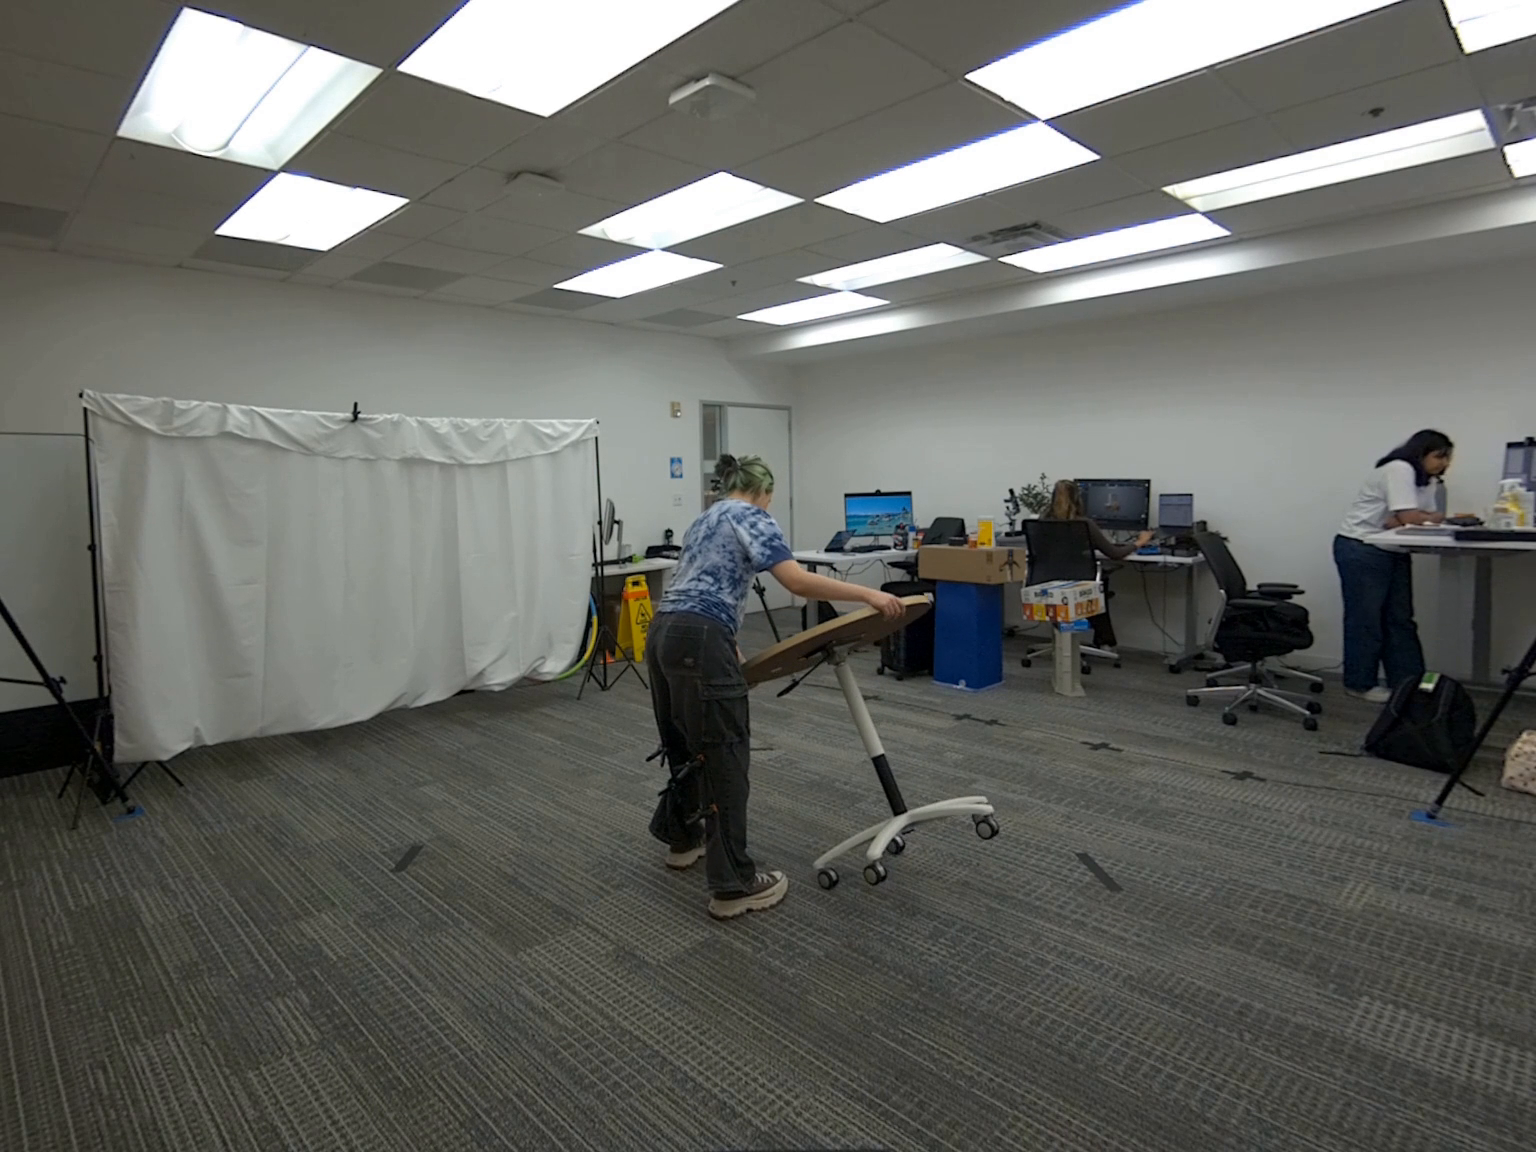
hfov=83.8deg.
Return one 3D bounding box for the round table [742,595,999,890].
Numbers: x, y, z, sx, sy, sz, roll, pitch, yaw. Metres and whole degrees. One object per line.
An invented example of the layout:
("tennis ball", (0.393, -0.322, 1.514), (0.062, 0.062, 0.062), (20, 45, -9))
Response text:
("round table", (0.370, 0.590, 2.998), (0.760, 0.809, 0.753), (-19, -15, -7))
